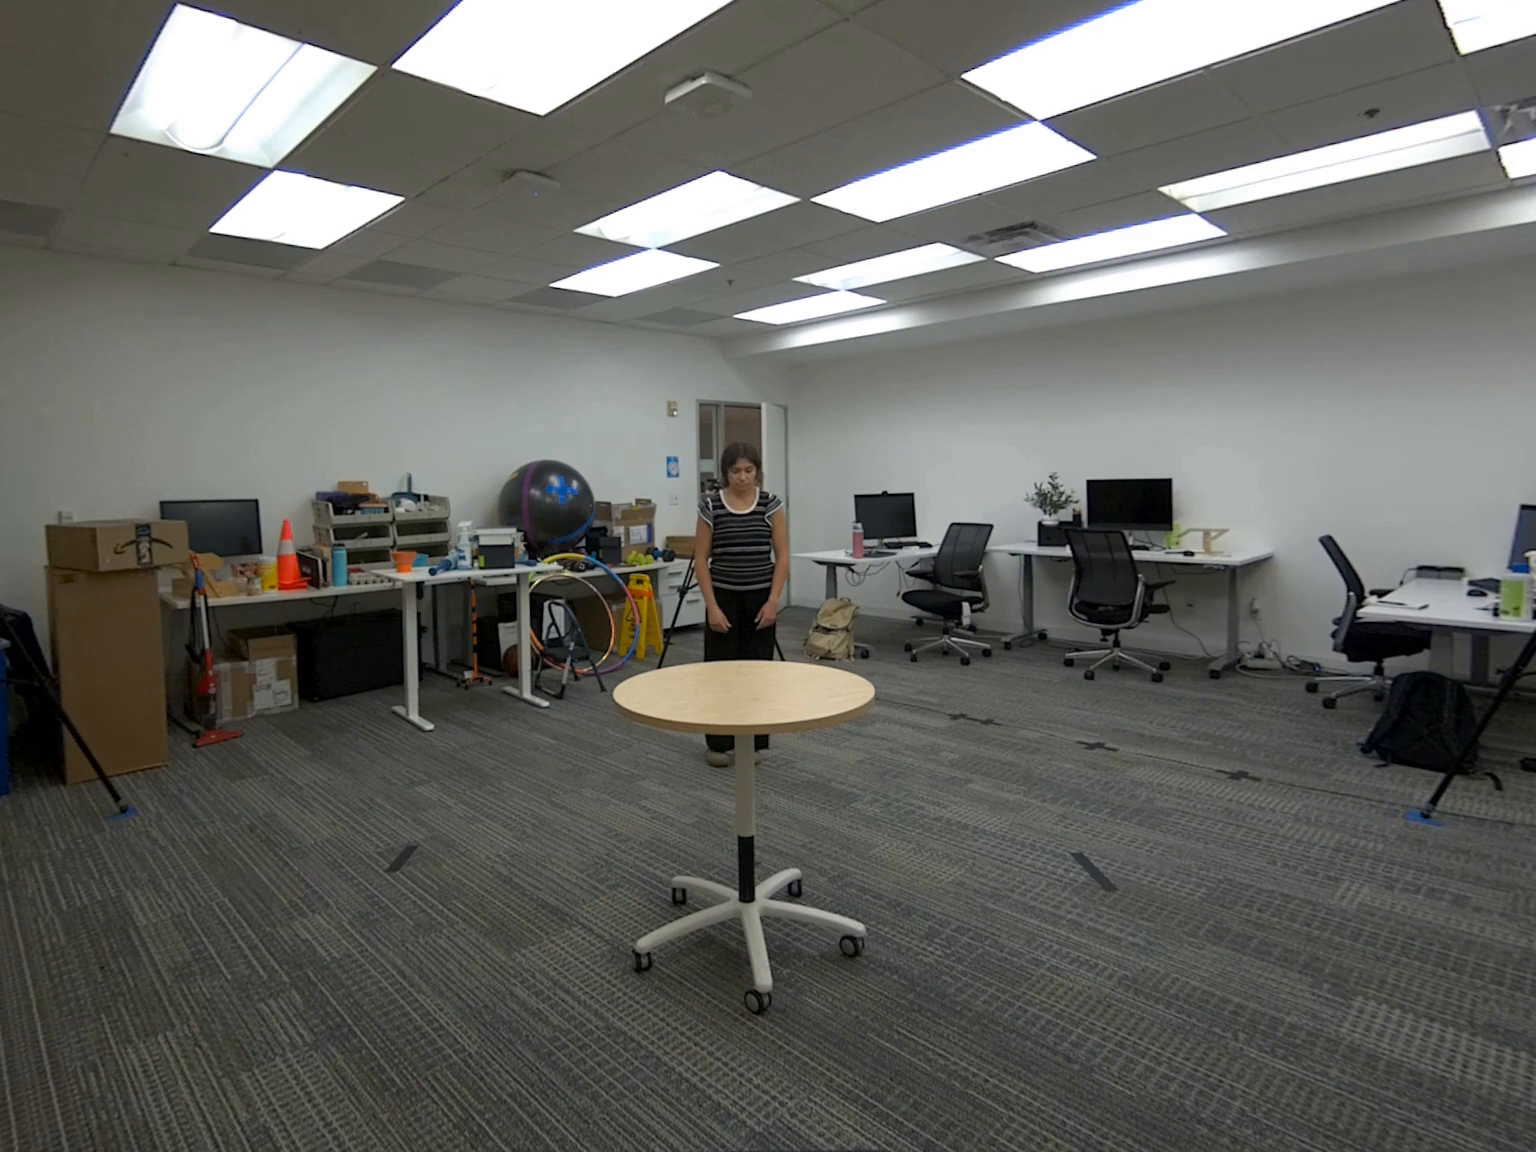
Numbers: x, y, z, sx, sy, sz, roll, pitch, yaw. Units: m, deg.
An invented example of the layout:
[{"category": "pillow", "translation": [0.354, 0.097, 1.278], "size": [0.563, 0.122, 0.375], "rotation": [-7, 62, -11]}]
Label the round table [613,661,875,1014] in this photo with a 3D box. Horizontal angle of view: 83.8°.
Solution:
[{"category": "round table", "translation": [-0.064, 0.728, 2.544], "size": [0.763, 0.791, 0.768], "rotation": [-1, 5, -2]}]
